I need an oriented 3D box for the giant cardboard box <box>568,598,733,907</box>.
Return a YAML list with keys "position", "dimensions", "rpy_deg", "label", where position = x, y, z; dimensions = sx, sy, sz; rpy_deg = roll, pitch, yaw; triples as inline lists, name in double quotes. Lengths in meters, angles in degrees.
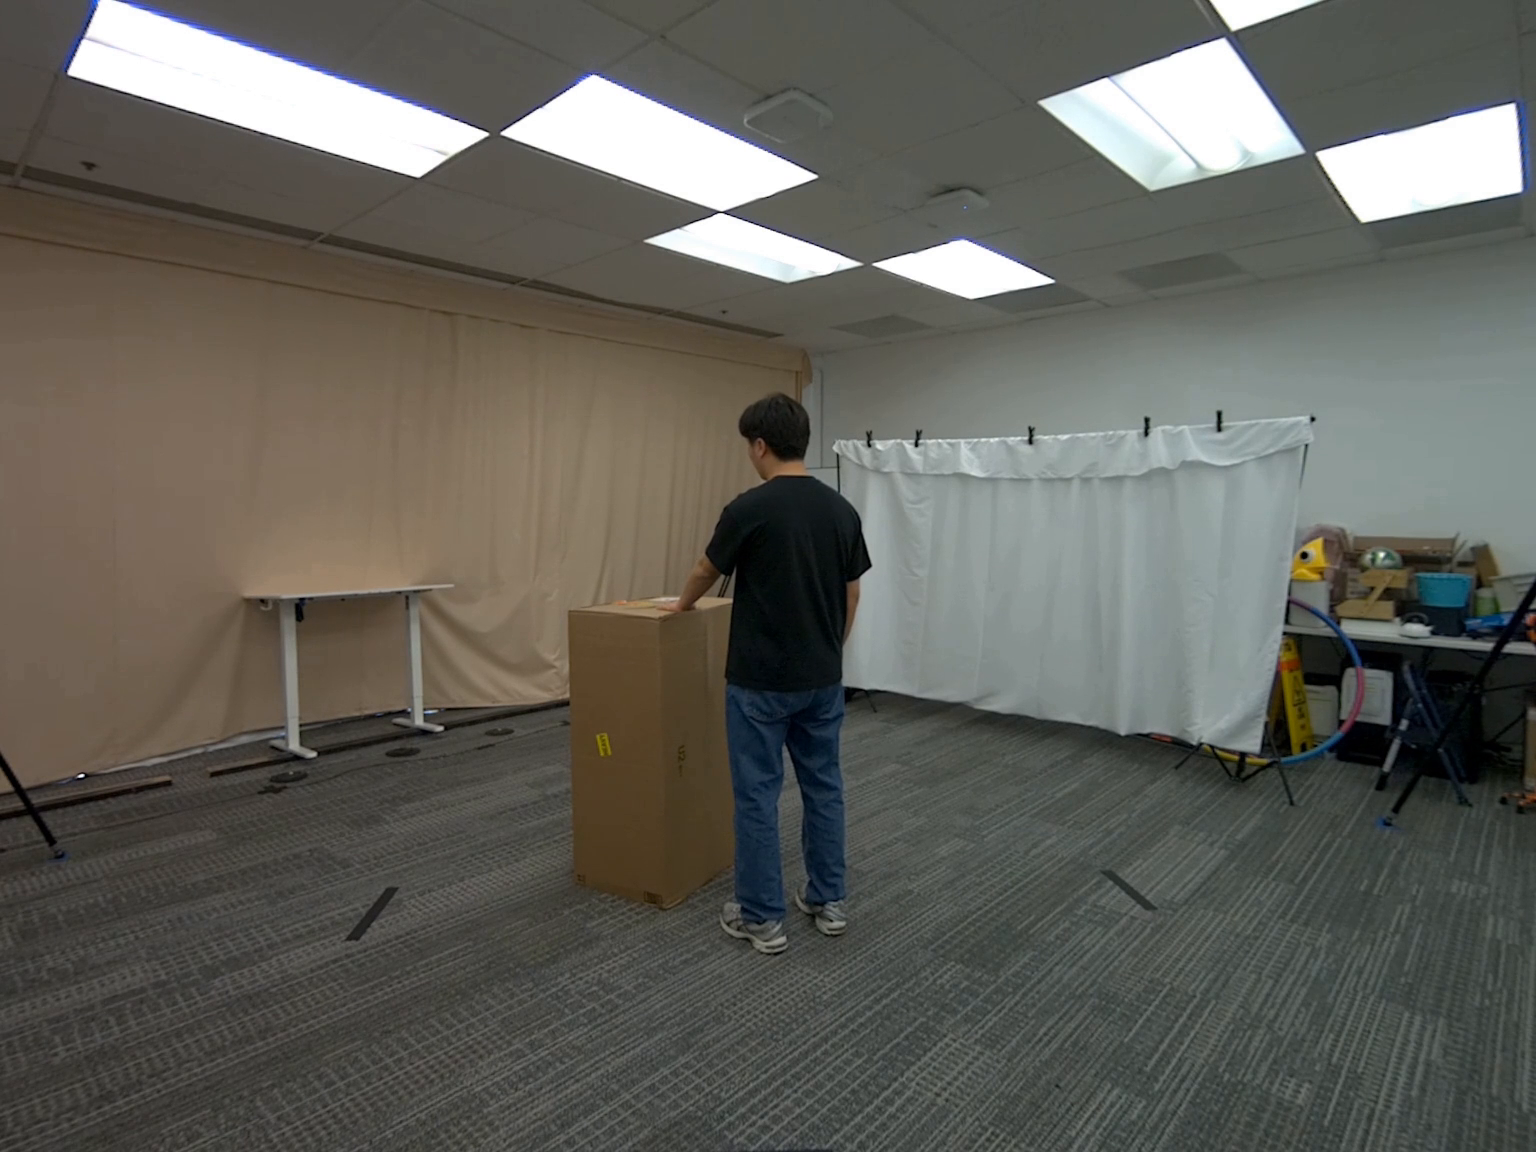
- position: [-0.406, 0.614, 3.229]
  dimensions: [0.460, 1.025, 0.568]
  rpy_deg: [1, 3, 32]
  label: "giant cardboard box"
